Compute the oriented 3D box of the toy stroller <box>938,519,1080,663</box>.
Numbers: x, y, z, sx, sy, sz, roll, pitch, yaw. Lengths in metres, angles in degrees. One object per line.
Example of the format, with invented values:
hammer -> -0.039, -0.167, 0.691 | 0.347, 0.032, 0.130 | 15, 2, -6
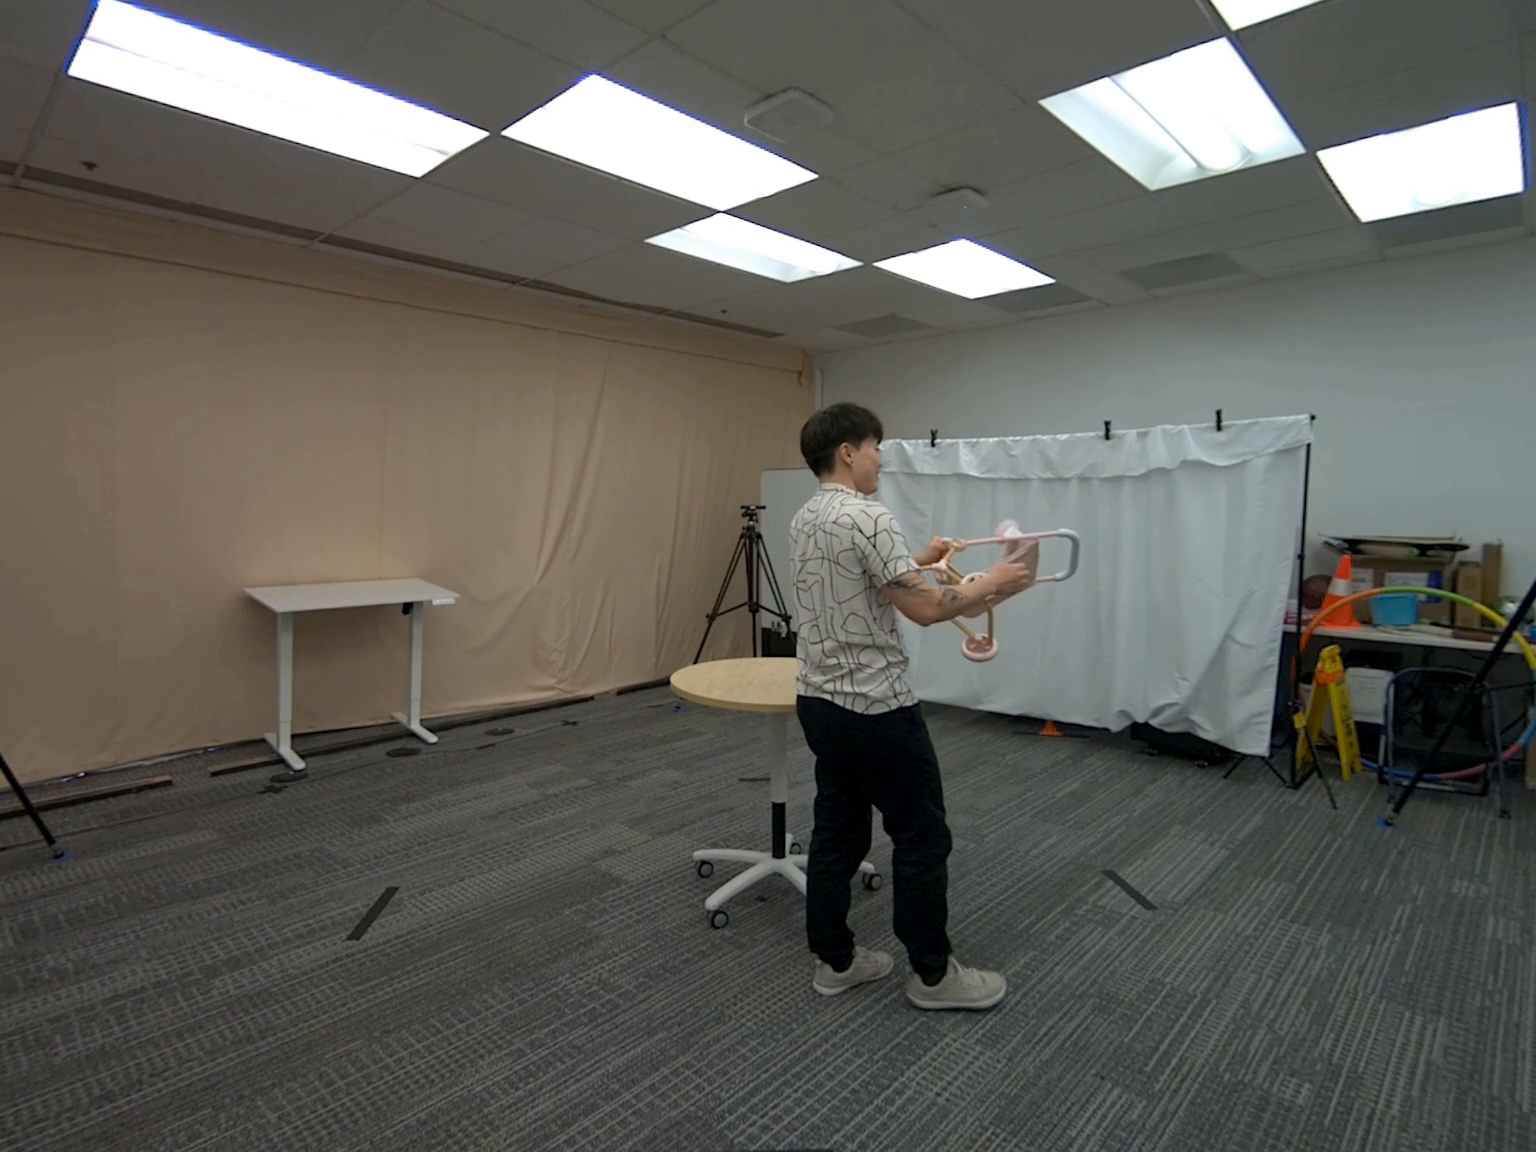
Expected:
toy stroller -> 0.652, 0.011, 2.606 | 0.530, 0.274, 0.354 | -38, 42, -23
